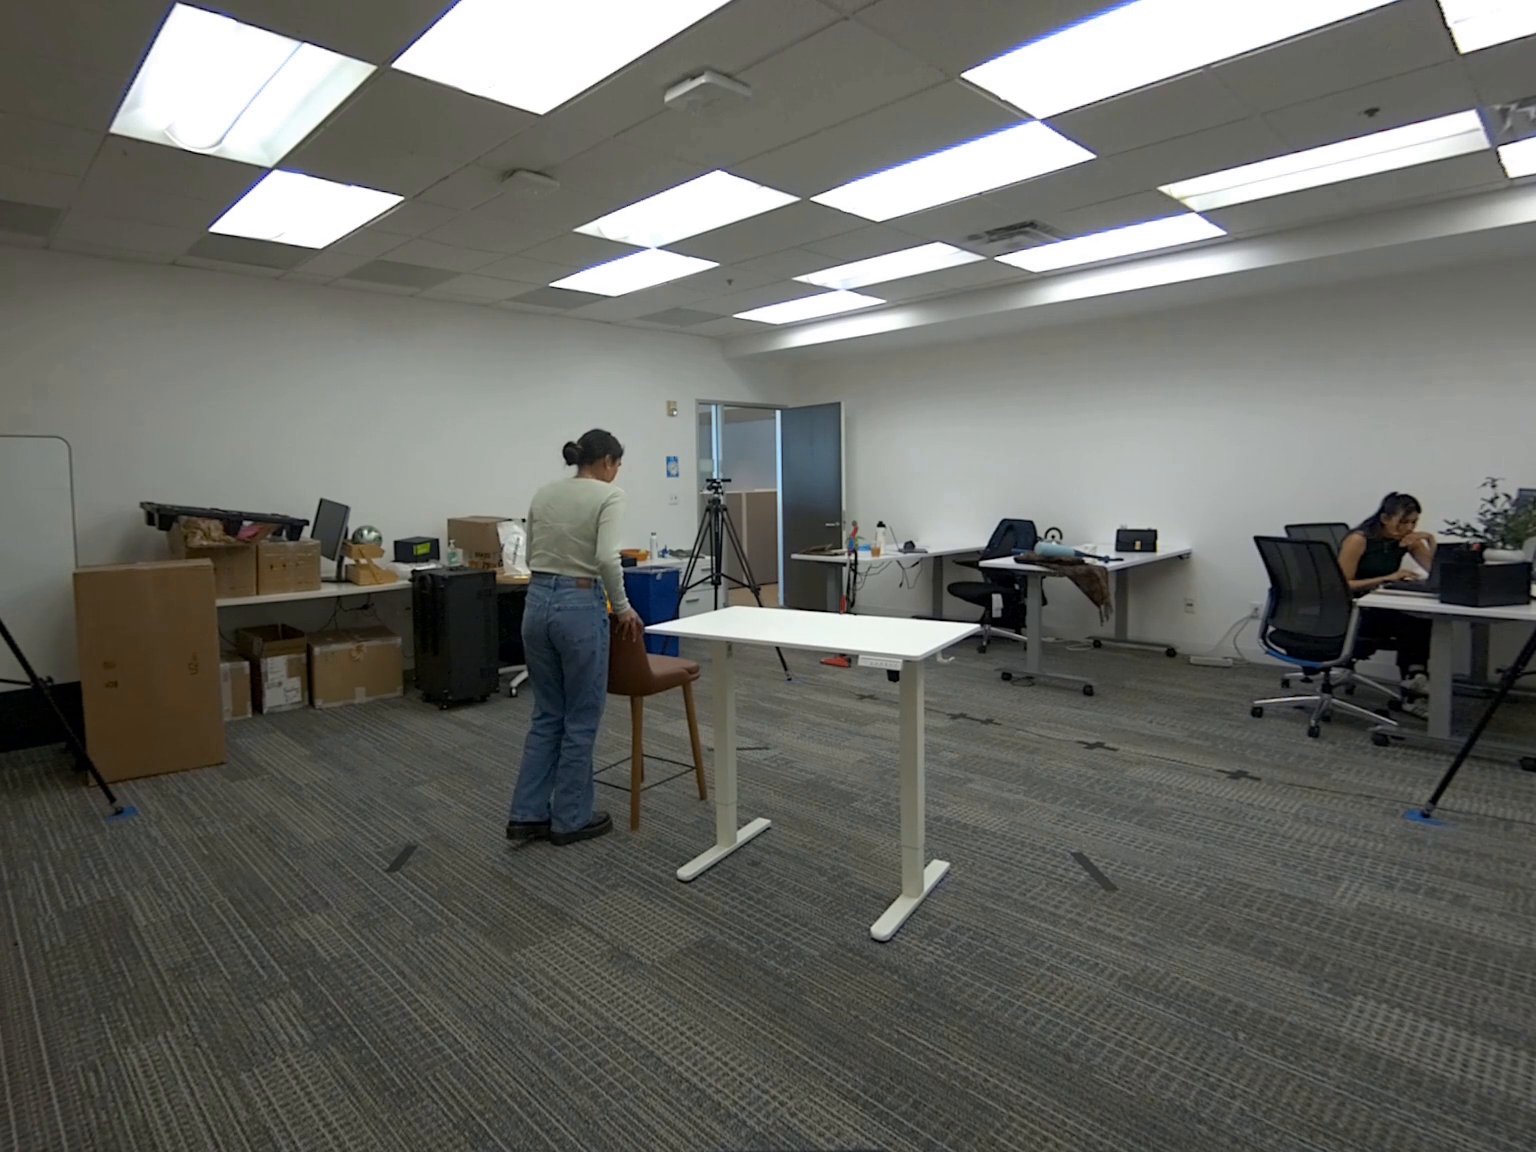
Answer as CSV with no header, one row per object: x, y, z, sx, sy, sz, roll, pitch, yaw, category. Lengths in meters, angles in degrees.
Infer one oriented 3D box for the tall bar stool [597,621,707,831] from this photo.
-0.572,0.552,3.669,0.470,0.885,0.456,1,6,37,tall bar stool
